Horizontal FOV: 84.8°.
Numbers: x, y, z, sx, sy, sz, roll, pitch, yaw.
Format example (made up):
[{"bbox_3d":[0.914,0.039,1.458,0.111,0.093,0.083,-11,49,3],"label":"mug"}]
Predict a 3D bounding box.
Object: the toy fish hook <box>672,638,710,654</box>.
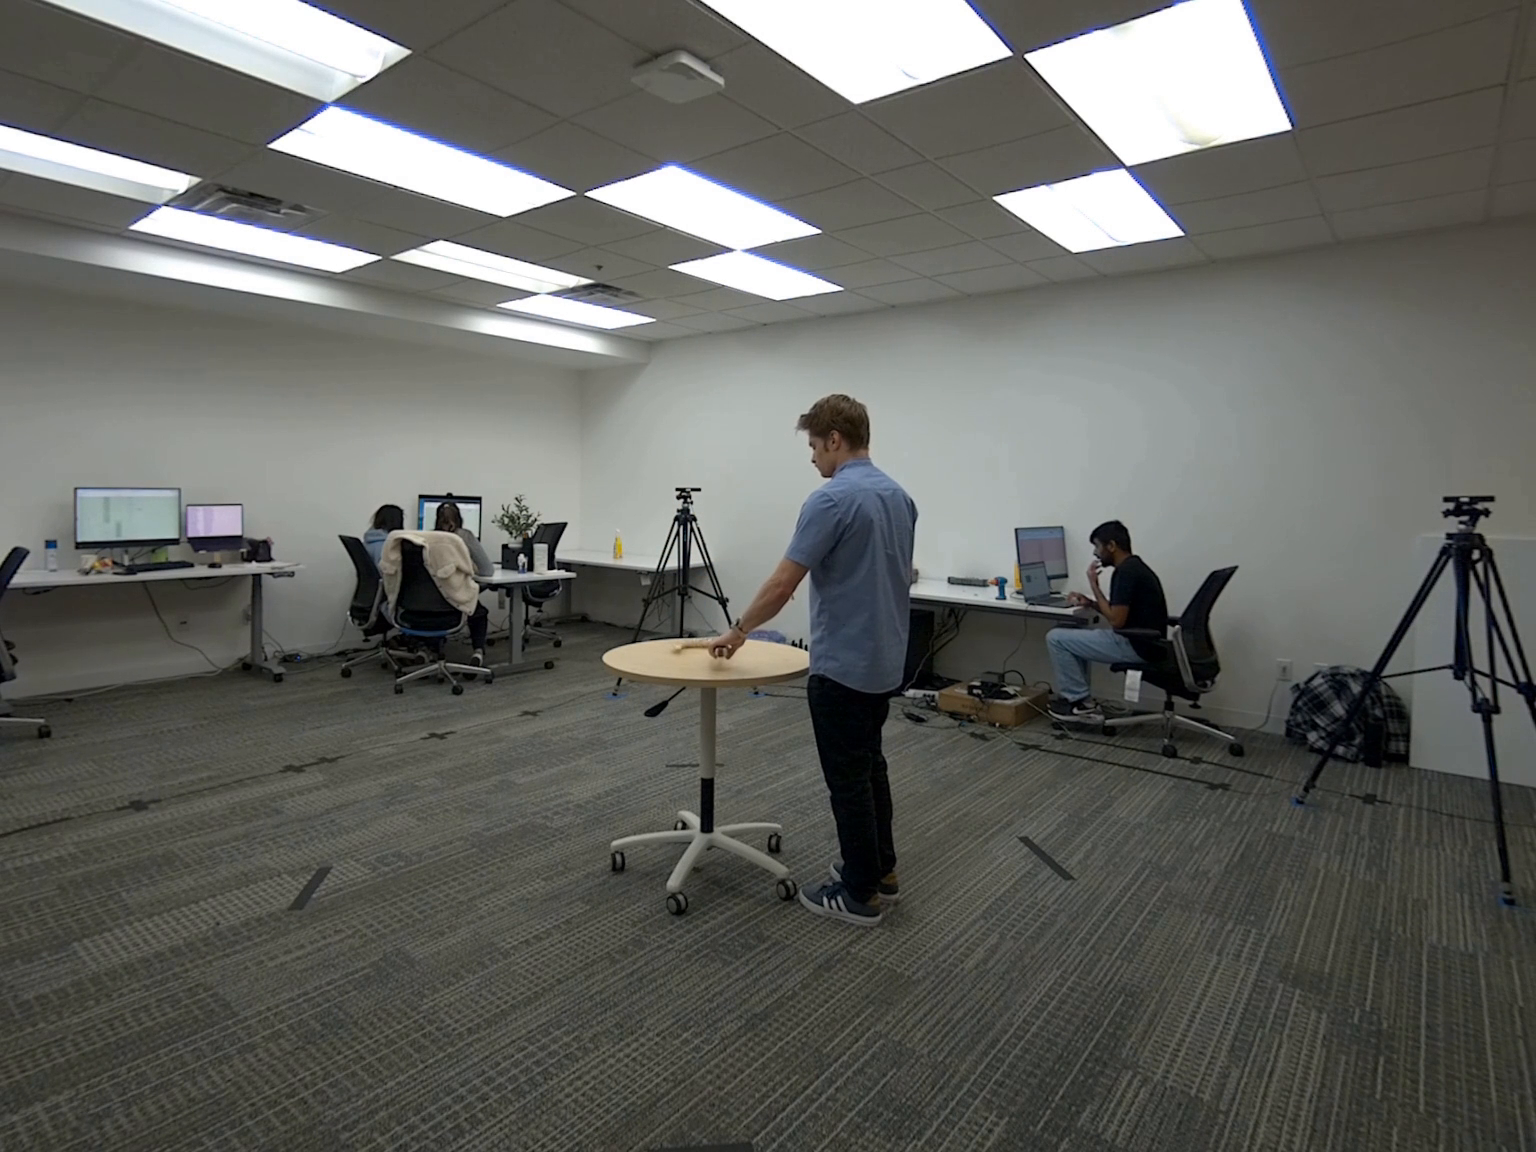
[{"bbox_3d":[-0.243,0.259,3.043,0.224,0.048,0.507,-8,0,-5],"label":"toy fish hook"}]
